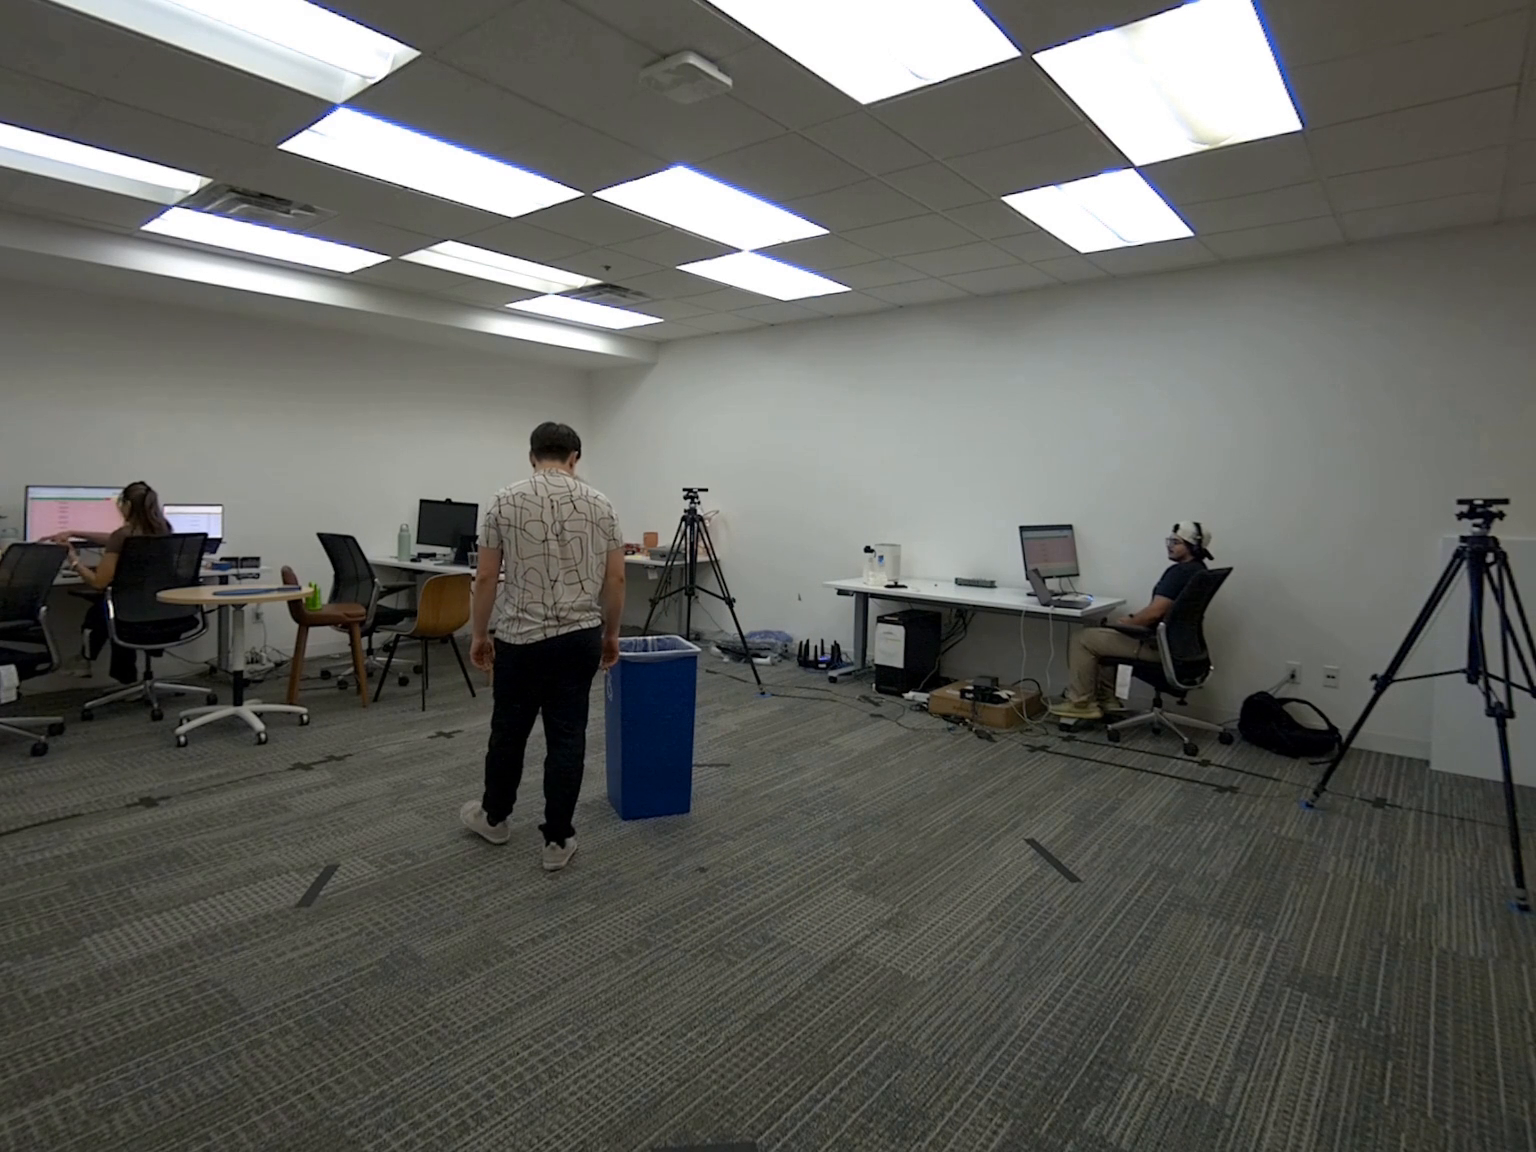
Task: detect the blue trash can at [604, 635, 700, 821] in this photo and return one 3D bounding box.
[{"bbox_3d":[-0.526,0.648,3.717,0.370,0.711,0.383,-1,4,-22],"label":"blue trash can"}]
